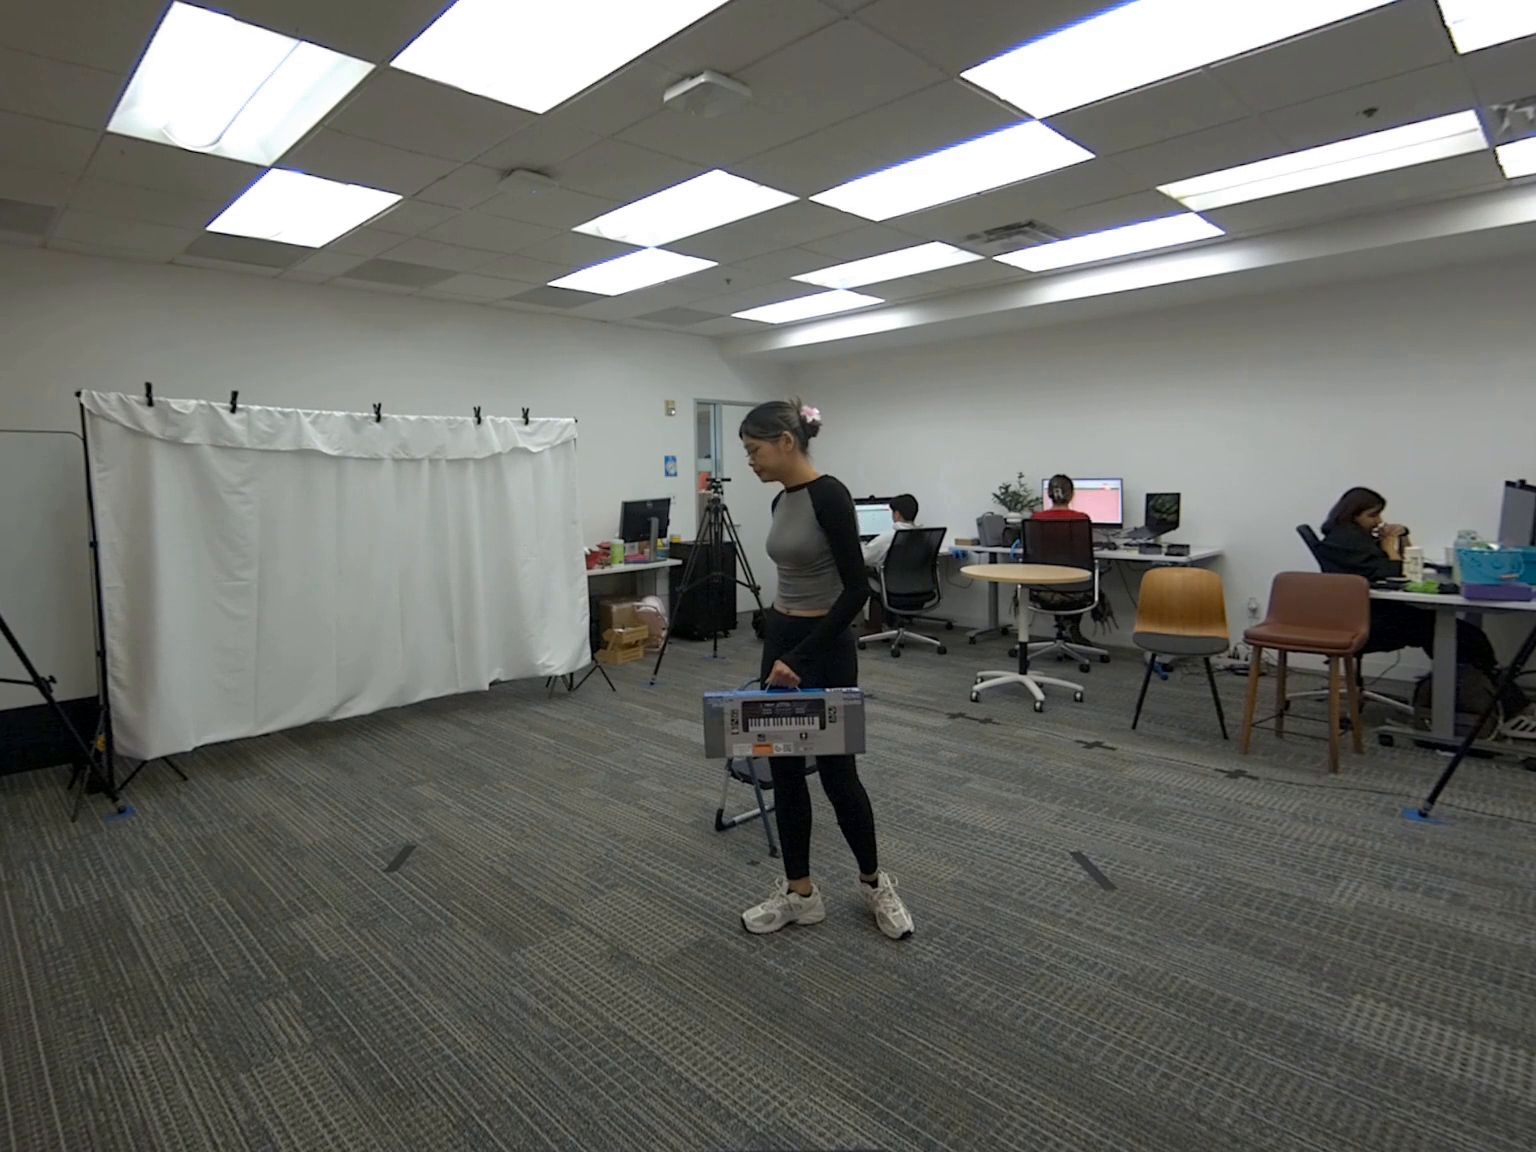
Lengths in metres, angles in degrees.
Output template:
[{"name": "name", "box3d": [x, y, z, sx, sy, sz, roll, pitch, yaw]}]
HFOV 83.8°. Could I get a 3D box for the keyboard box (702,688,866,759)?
[{"name": "keyboard box", "box3d": [0.049, 0.405, 2.346, 0.438, 0.176, 0.059, -1, 1, 3]}]
